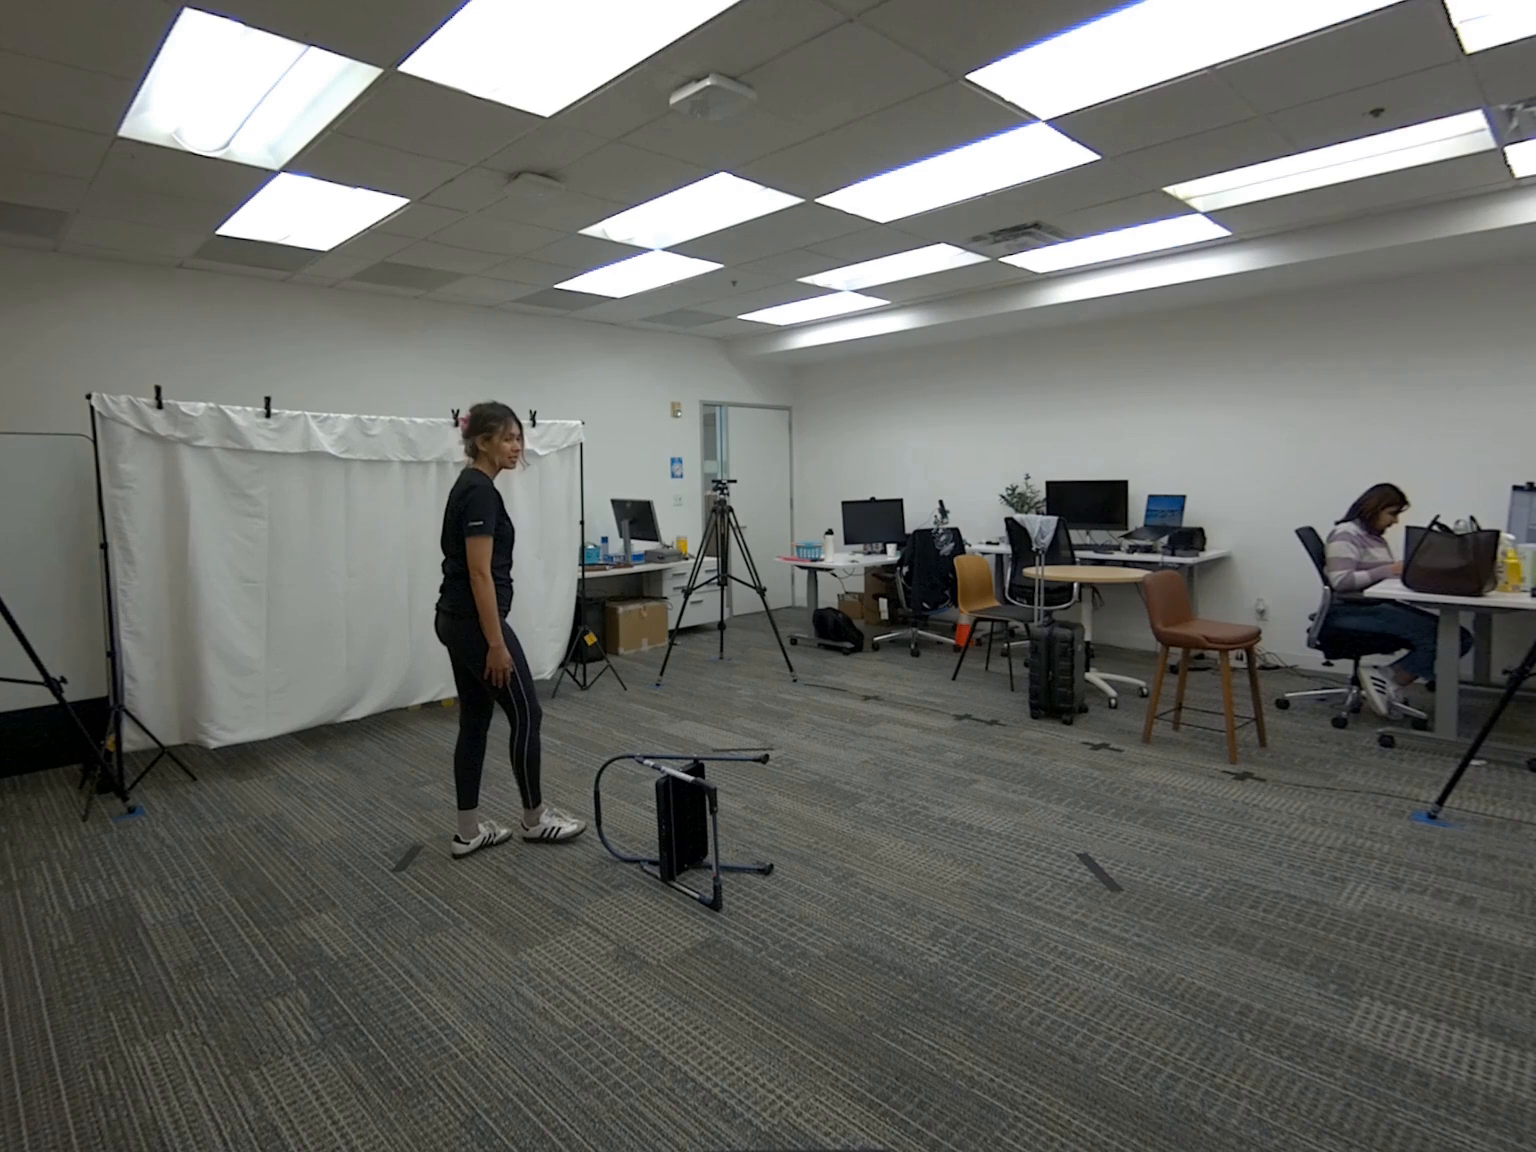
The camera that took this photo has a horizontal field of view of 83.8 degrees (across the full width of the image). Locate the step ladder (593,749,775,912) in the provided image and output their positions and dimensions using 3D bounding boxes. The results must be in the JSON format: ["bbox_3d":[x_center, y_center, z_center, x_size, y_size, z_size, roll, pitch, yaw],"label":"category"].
[{"bbox_3d":[-0.338,0.858,3.049,0.622,0.429,0.341,0,5,33],"label":"step ladder"}]
